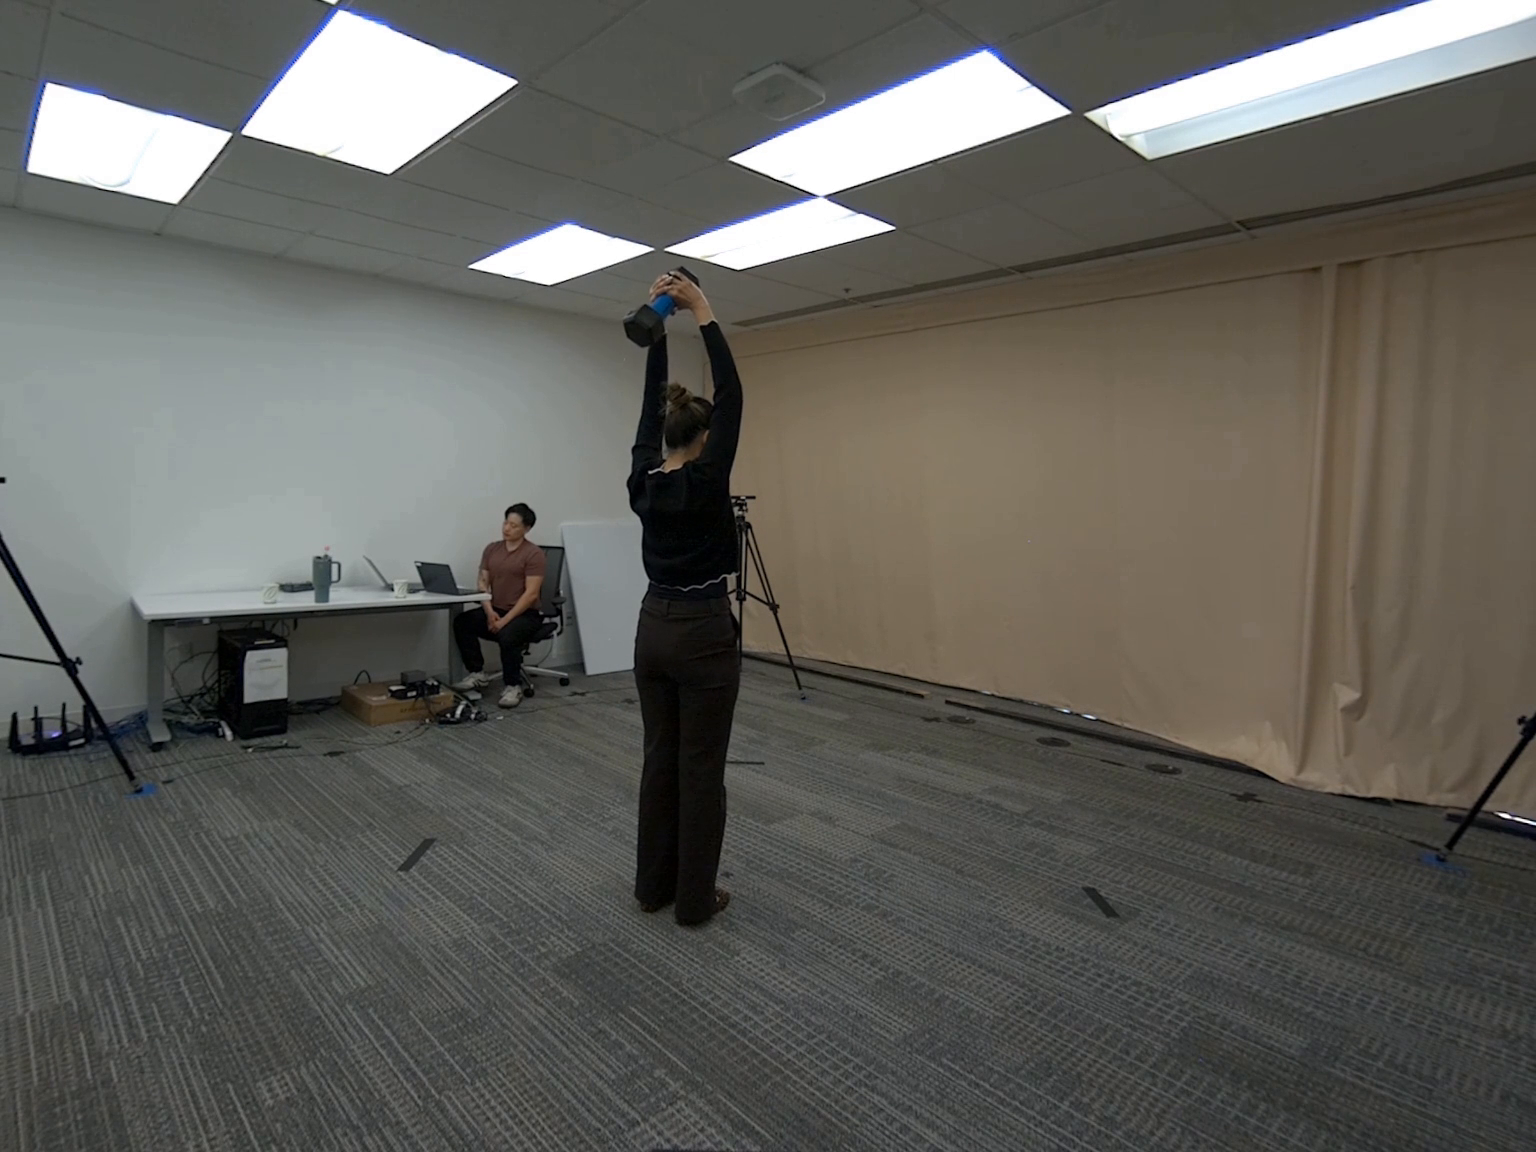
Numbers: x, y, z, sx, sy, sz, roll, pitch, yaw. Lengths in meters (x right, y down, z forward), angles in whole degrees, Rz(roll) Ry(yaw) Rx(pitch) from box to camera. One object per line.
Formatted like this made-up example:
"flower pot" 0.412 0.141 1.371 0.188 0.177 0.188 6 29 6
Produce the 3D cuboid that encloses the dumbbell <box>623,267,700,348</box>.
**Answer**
"dumbbell" -0.337 -0.835 2.611 0.111 0.295 0.120 21 -32 22
